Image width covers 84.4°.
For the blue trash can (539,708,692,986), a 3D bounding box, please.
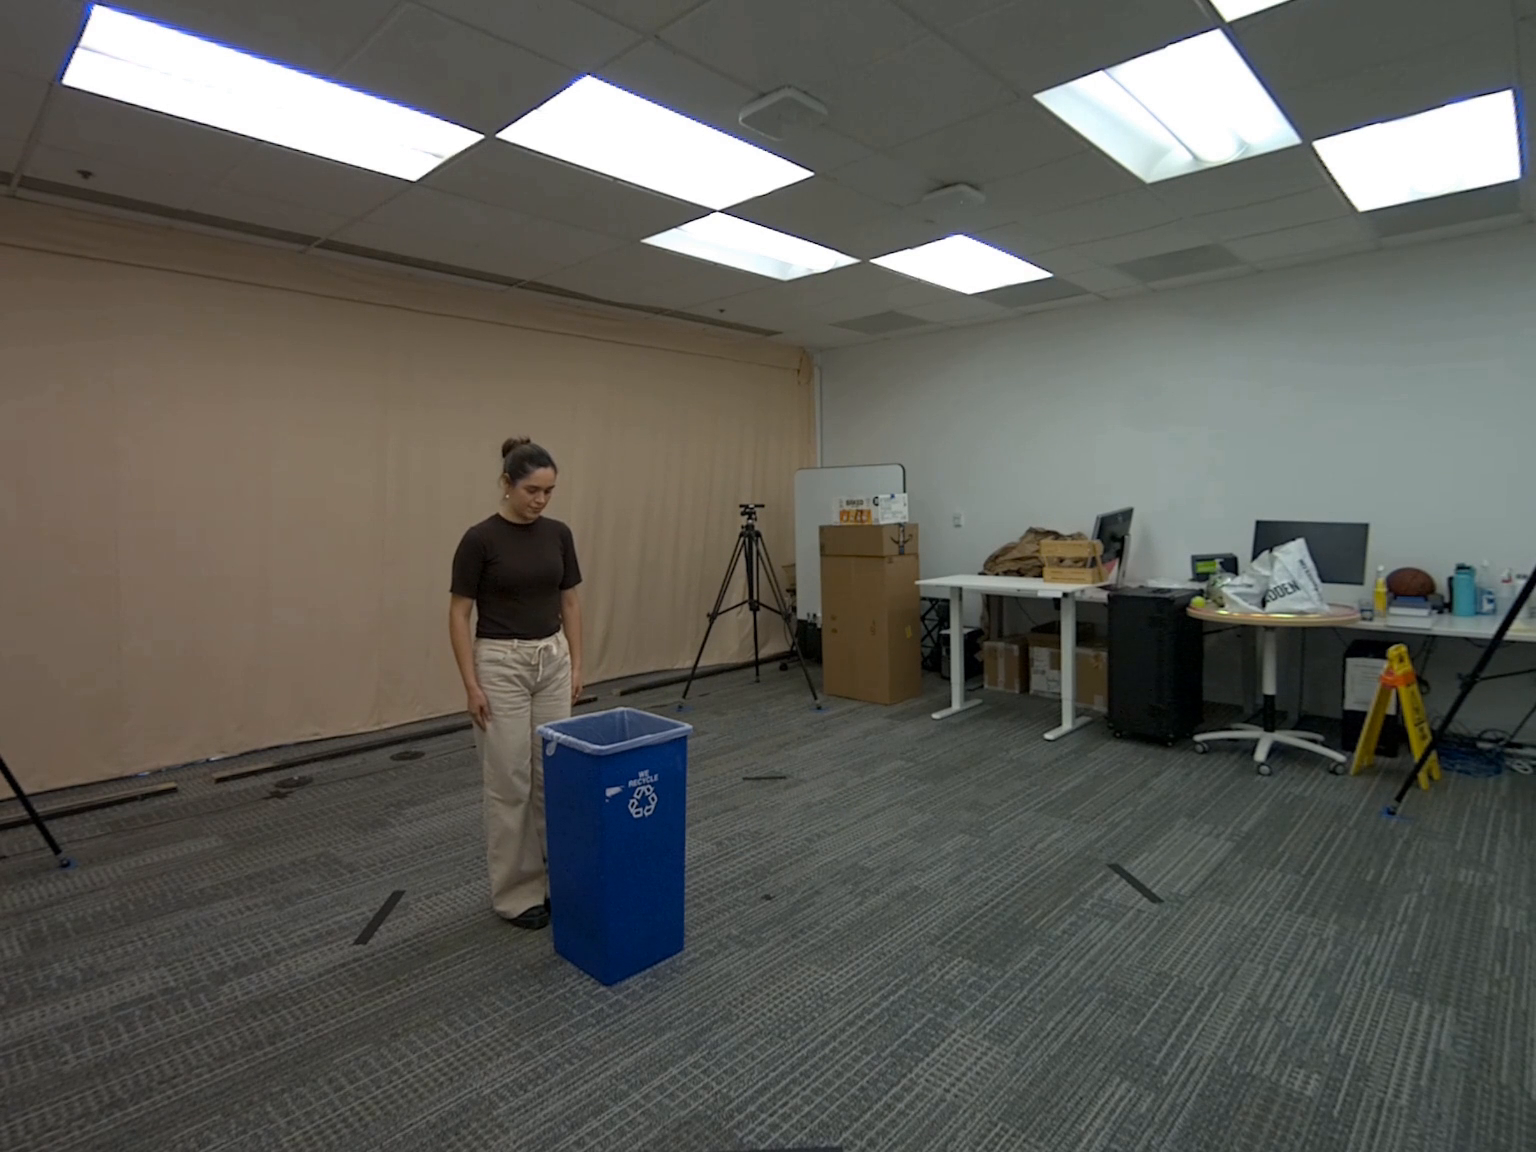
[{"bbox_3d":[-0.466,0.823,2.628,0.366,0.712,0.386,-4,4,-45],"label":"blue trash can"}]
